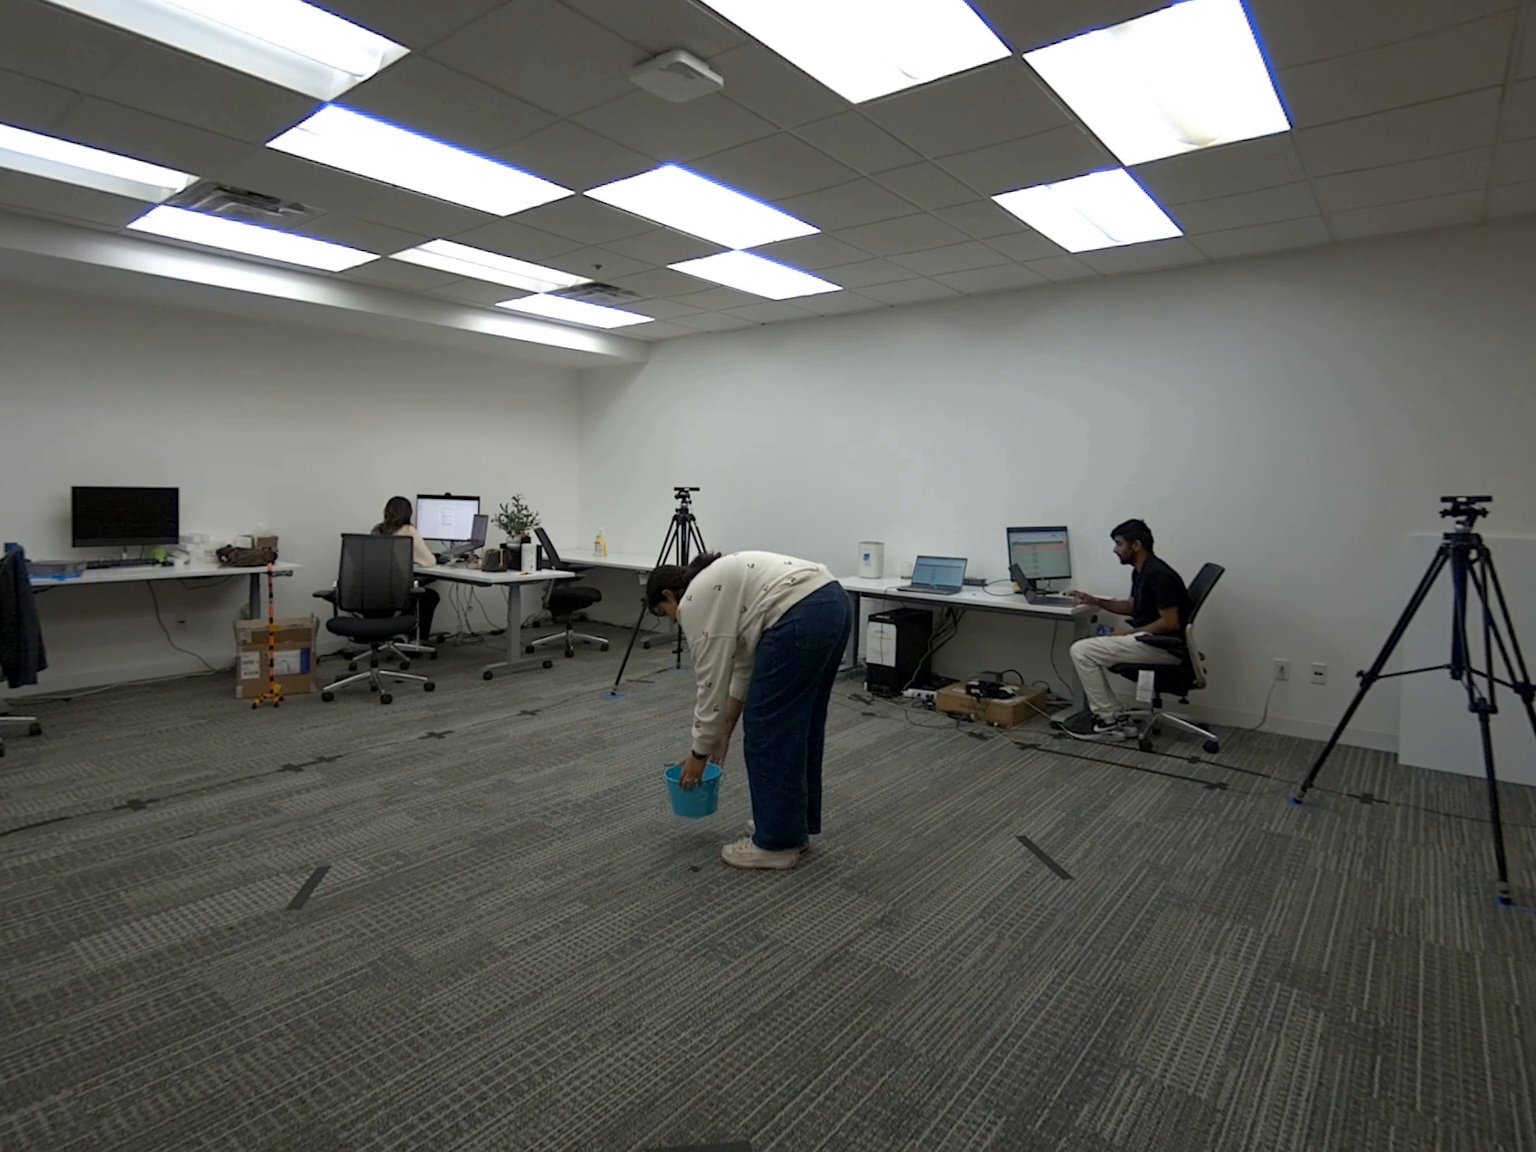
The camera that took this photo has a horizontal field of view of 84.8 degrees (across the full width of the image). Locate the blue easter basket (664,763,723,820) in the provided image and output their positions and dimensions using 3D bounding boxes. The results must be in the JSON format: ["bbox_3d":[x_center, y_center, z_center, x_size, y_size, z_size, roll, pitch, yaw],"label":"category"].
[{"bbox_3d":[-0.297,0.846,3.370,0.243,0.155,0.245,-3,6,-2],"label":"blue easter basket"}]
